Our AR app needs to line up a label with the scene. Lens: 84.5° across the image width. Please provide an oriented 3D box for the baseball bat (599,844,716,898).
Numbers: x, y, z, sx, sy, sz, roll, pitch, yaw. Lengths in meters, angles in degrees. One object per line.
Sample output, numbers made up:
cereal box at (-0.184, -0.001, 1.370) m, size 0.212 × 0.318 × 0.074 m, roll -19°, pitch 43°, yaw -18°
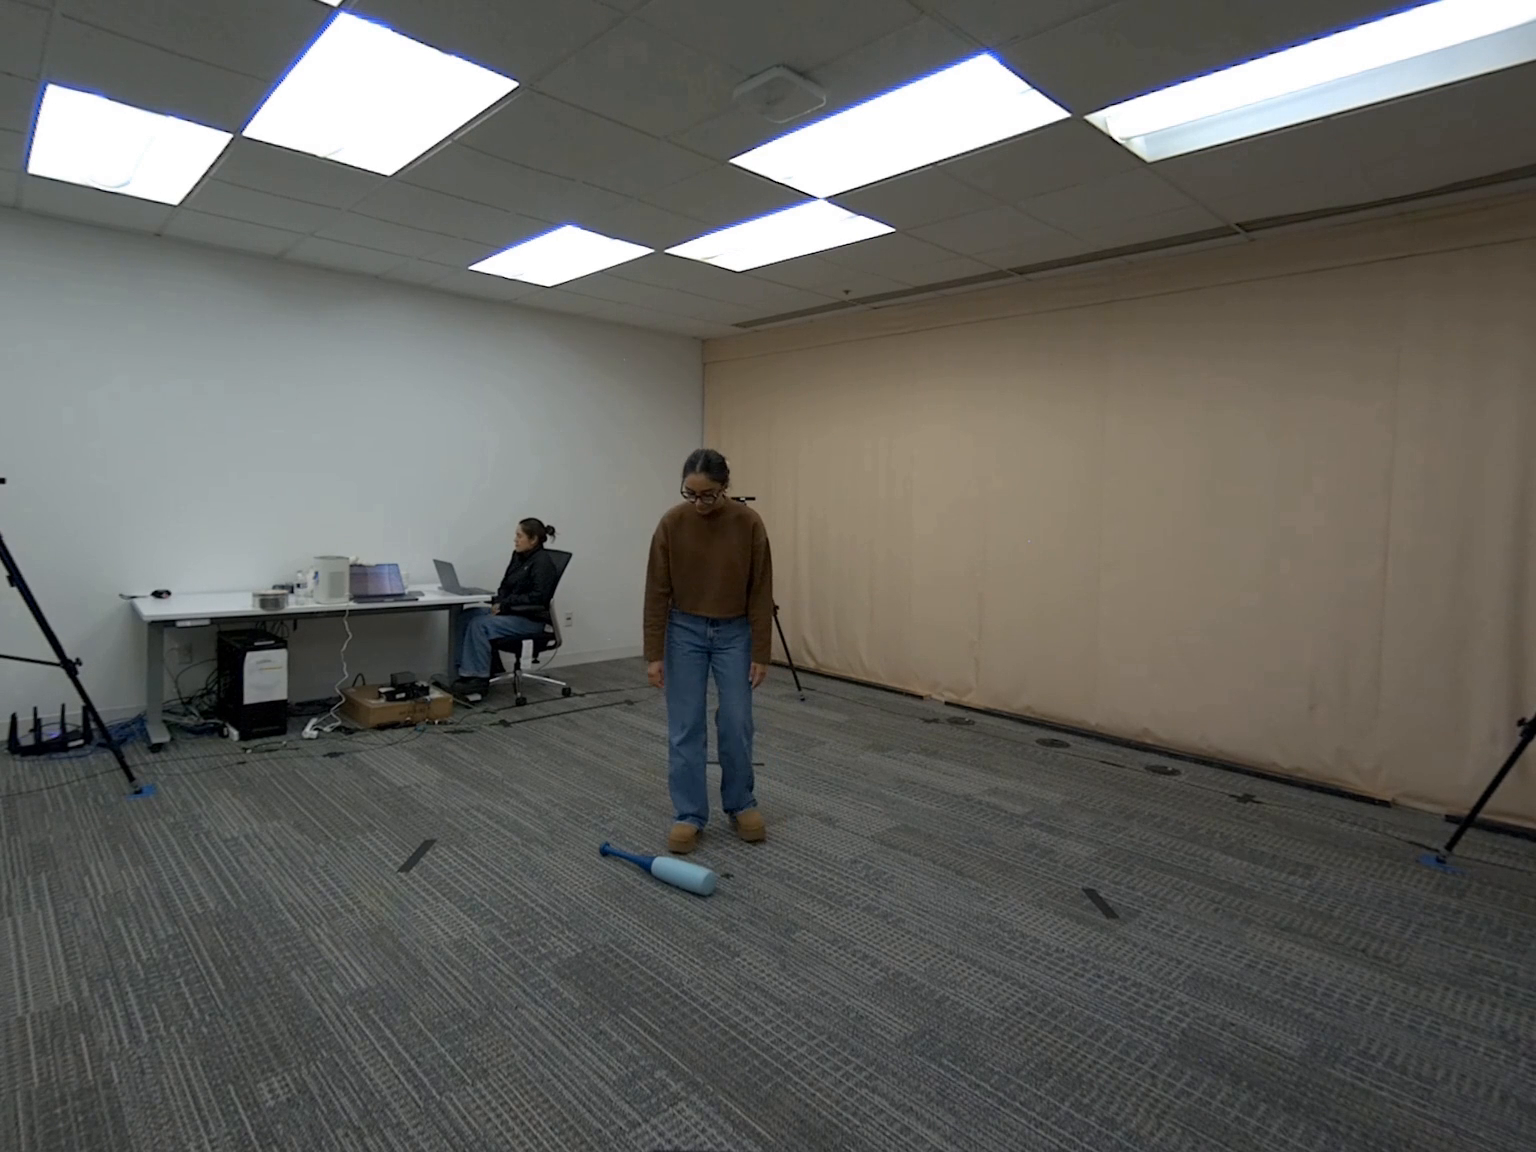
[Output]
baseball bat at (-0.426, 1.067, 3.094) m, size 0.555 × 0.089 × 0.087 m, roll 1°, pitch 3°, yaw 37°
